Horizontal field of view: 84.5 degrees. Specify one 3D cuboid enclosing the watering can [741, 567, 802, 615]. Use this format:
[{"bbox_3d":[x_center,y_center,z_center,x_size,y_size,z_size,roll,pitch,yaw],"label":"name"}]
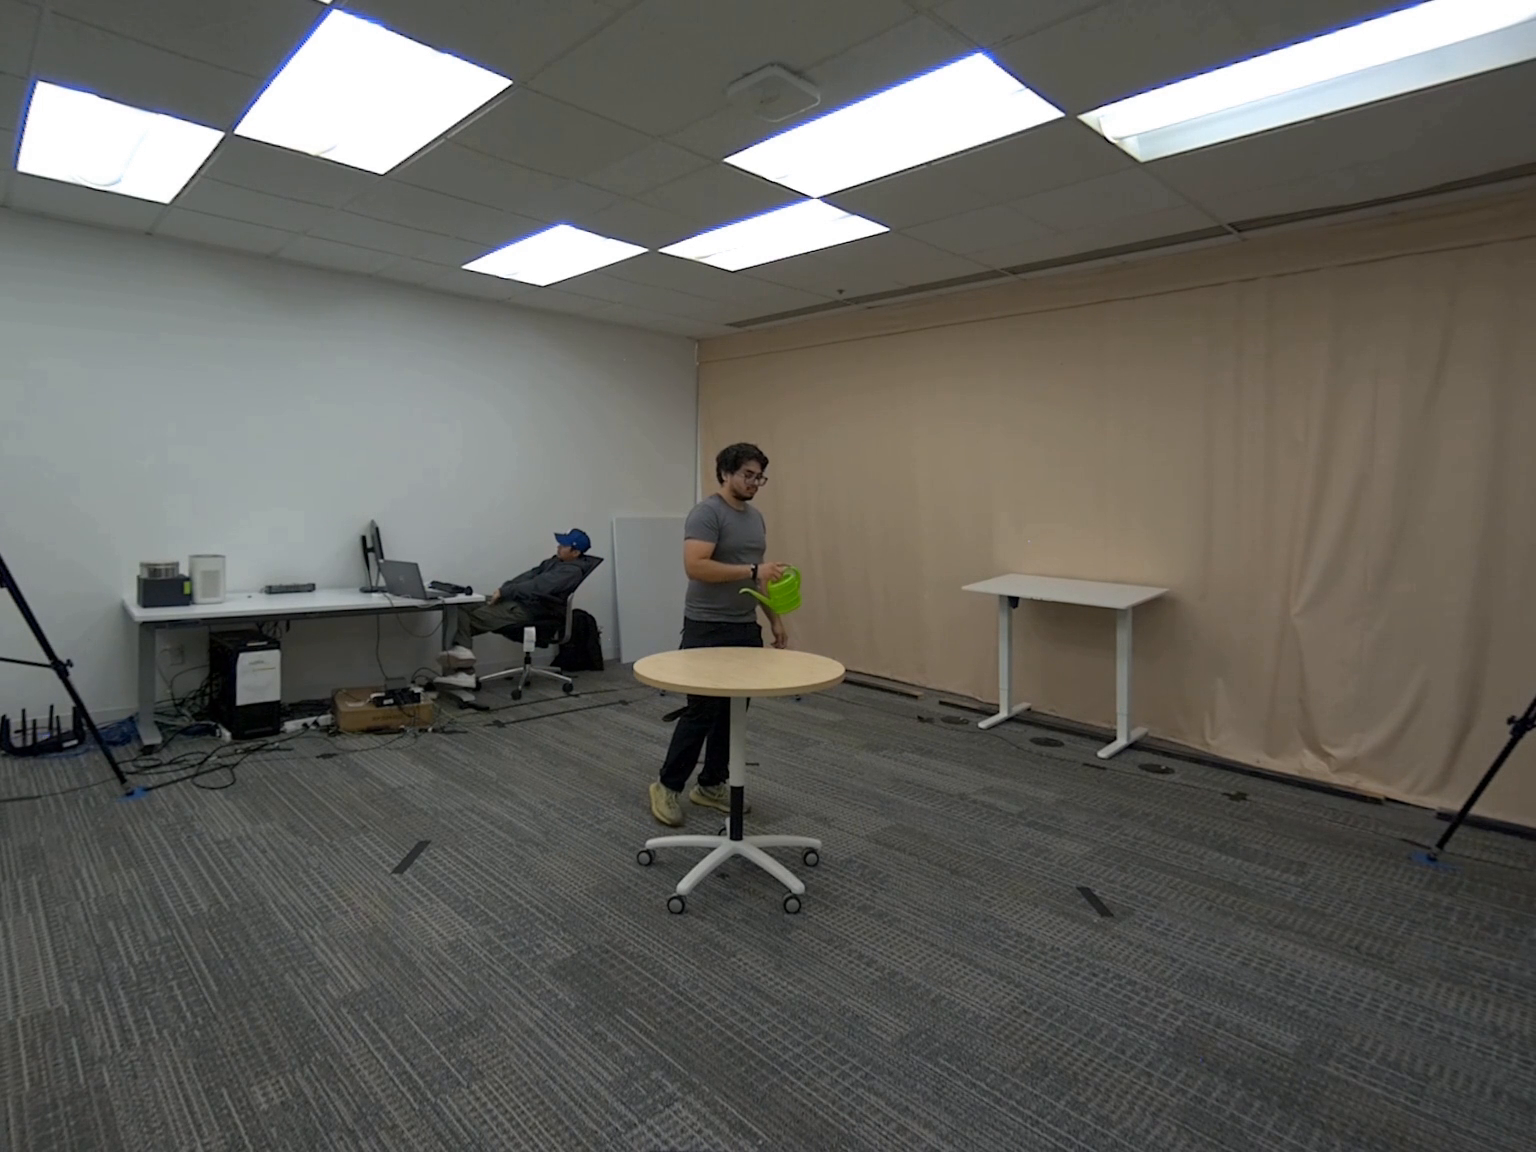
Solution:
[{"bbox_3d":[0.007,0.071,3.537,0.277,0.174,0.100,-18,17,-8],"label":"watering can"}]
